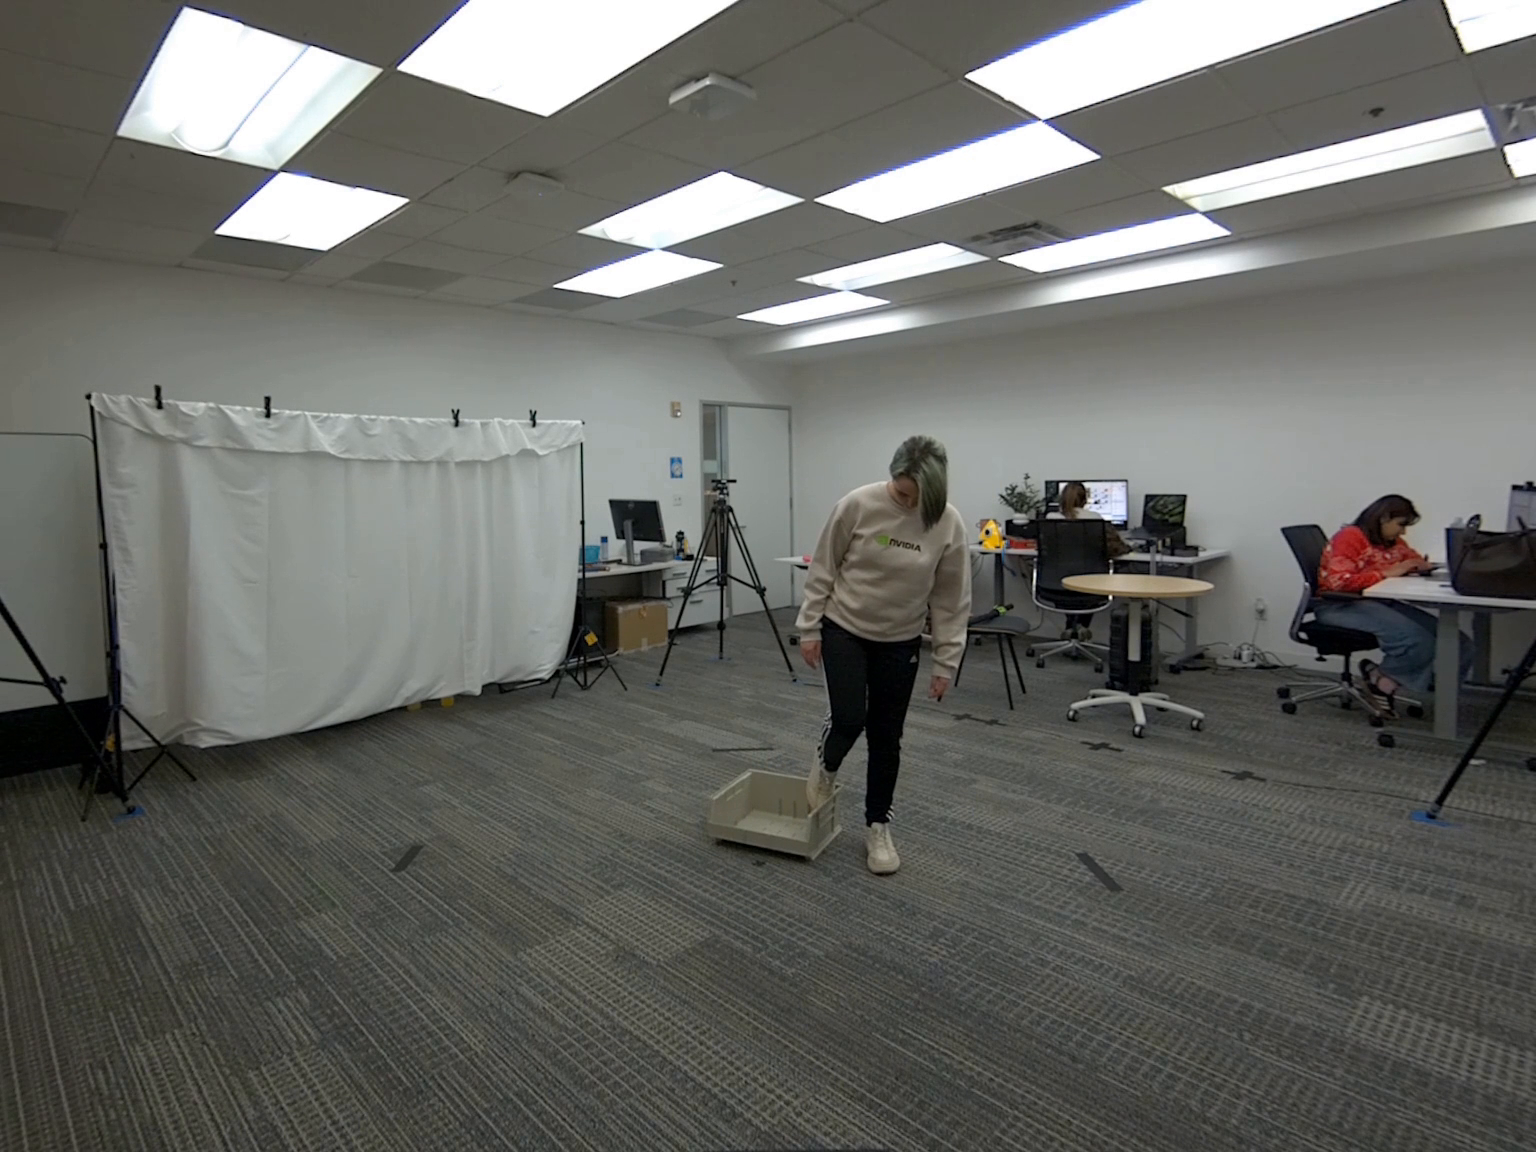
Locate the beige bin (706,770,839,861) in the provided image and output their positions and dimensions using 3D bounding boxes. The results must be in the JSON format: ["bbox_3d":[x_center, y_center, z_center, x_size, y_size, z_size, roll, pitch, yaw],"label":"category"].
[{"bbox_3d":[0.034,0.926,3.333,0.433,0.188,0.370,3,6,26],"label":"beige bin"}]
